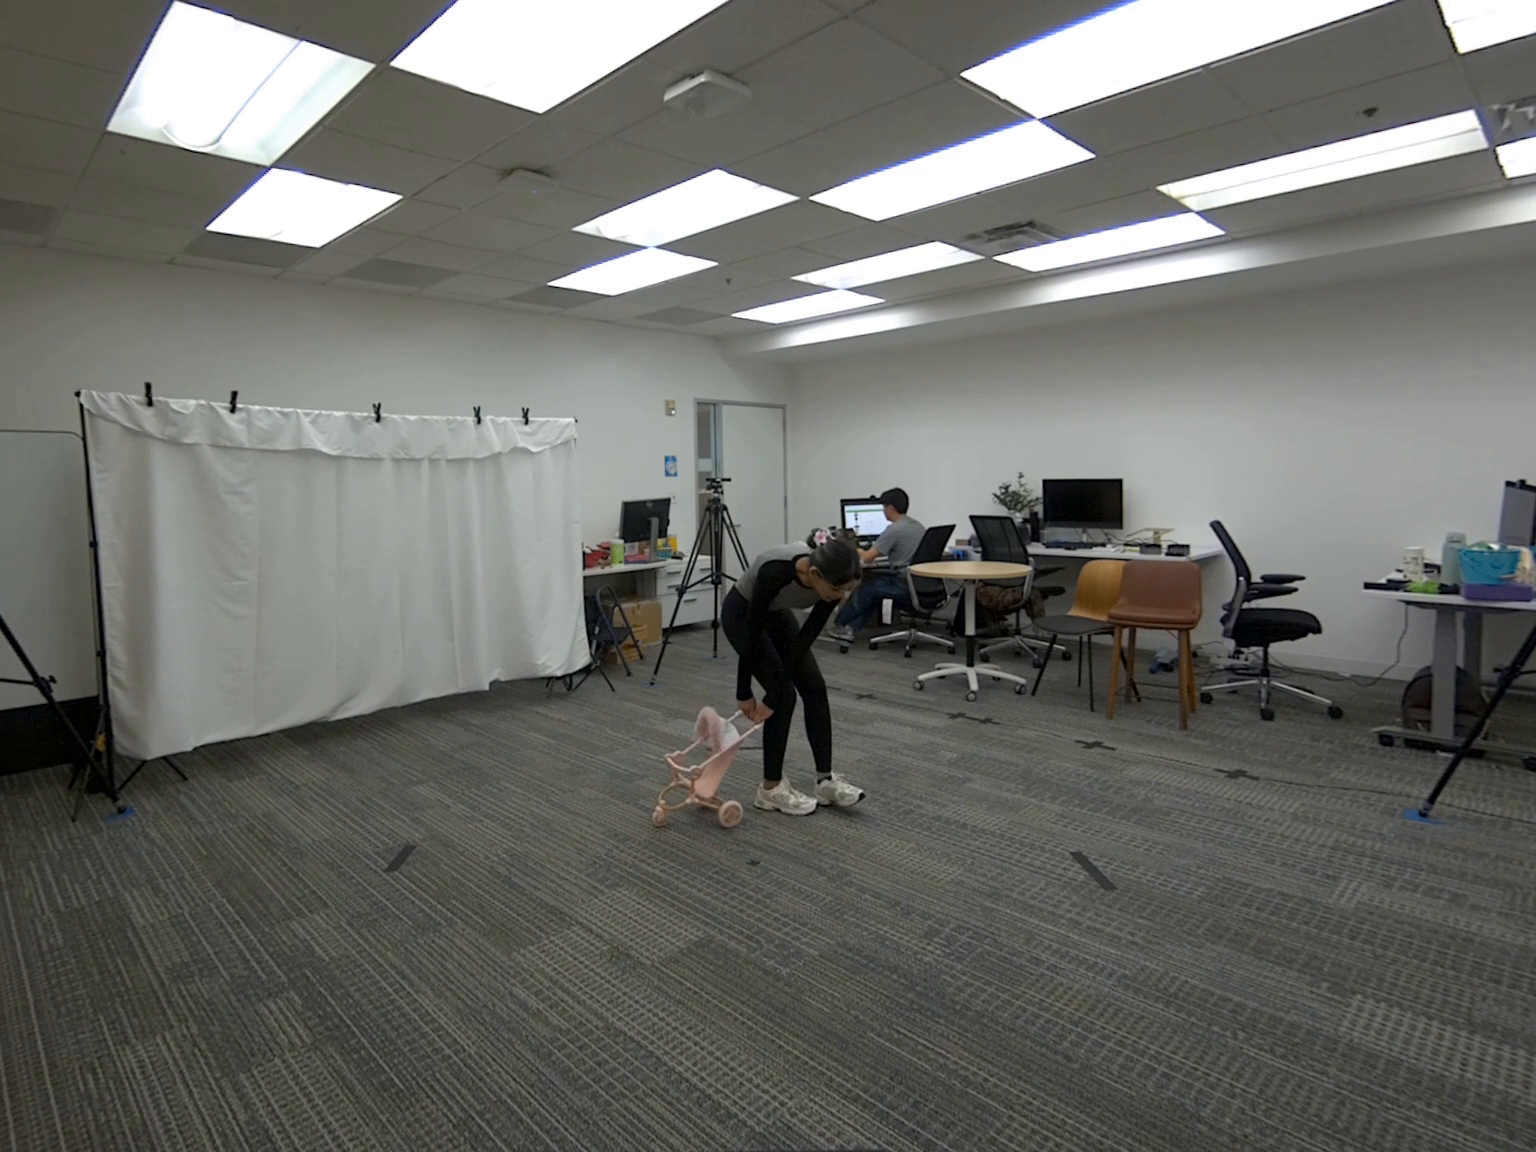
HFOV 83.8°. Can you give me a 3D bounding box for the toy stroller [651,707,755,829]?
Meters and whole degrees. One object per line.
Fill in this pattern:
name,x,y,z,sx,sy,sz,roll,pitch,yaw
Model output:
toy stroller,-0.259,0.772,3.496,0.334,0.535,0.288,16,0,-20
